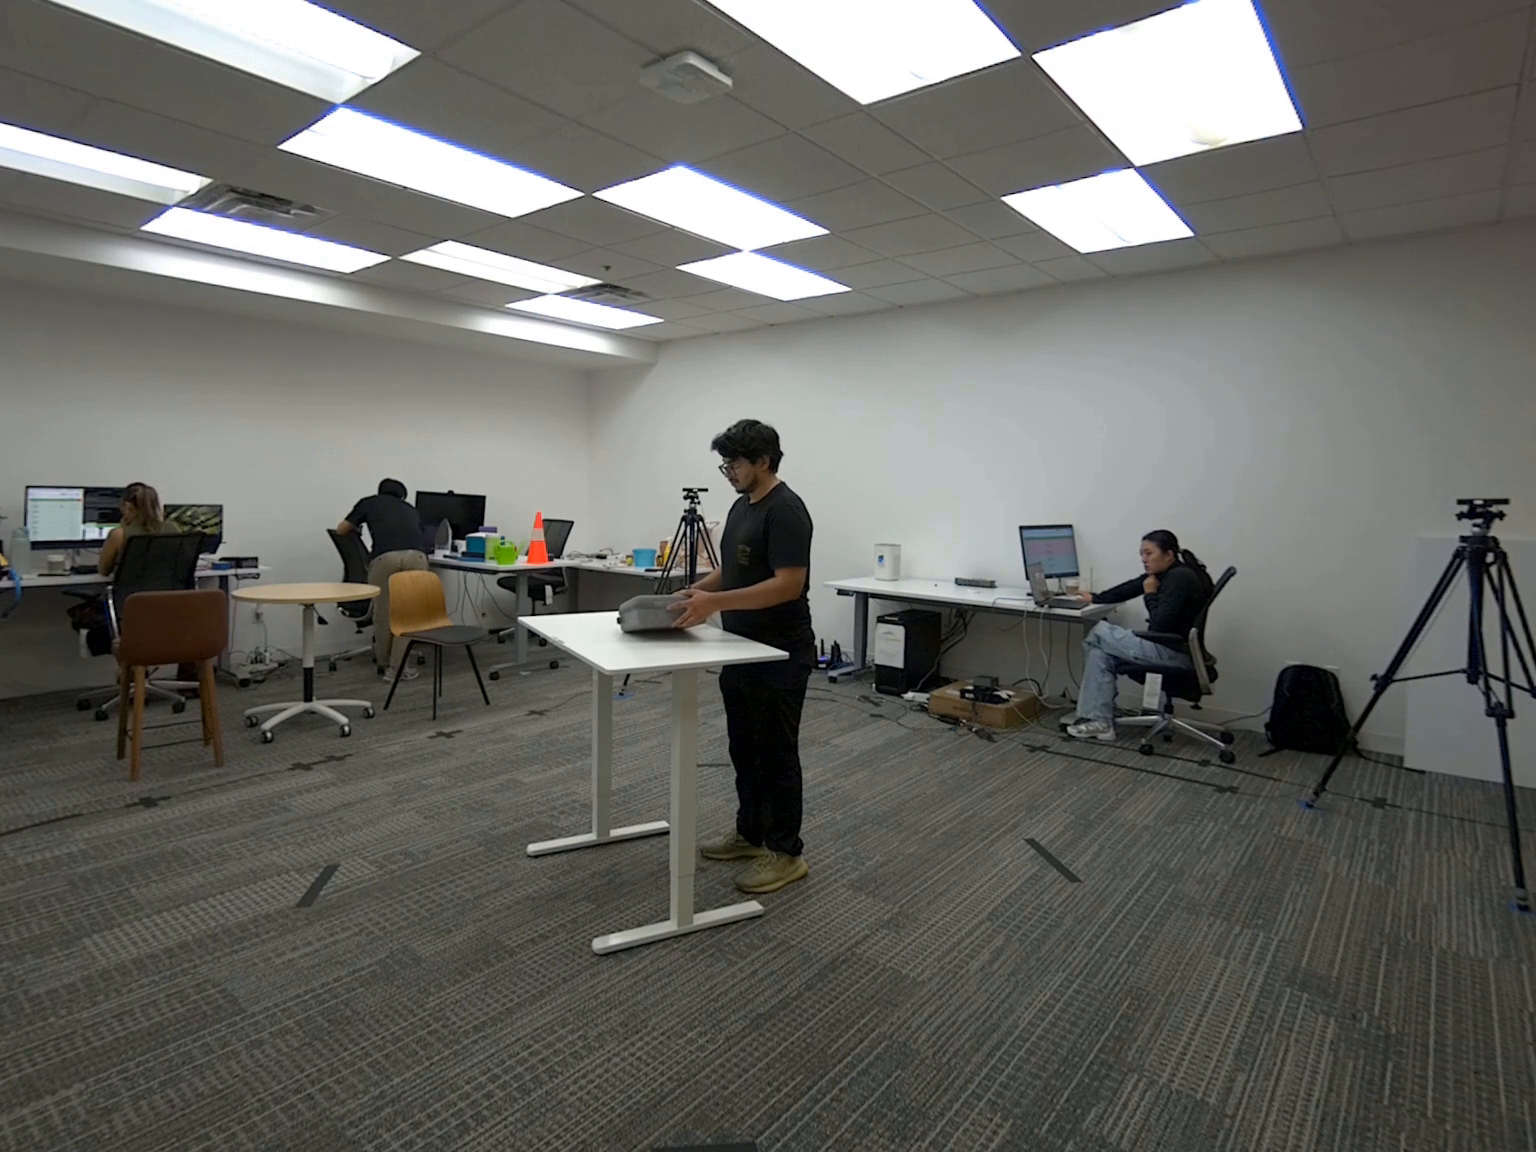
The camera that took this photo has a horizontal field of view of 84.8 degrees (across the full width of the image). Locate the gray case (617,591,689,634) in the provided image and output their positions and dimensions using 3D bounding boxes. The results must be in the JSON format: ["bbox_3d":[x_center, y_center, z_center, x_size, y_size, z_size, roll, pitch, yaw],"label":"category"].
[{"bbox_3d":[-0.379,0.128,2.919,0.252,0.105,0.264,-1,-8,-21],"label":"gray case"}]
